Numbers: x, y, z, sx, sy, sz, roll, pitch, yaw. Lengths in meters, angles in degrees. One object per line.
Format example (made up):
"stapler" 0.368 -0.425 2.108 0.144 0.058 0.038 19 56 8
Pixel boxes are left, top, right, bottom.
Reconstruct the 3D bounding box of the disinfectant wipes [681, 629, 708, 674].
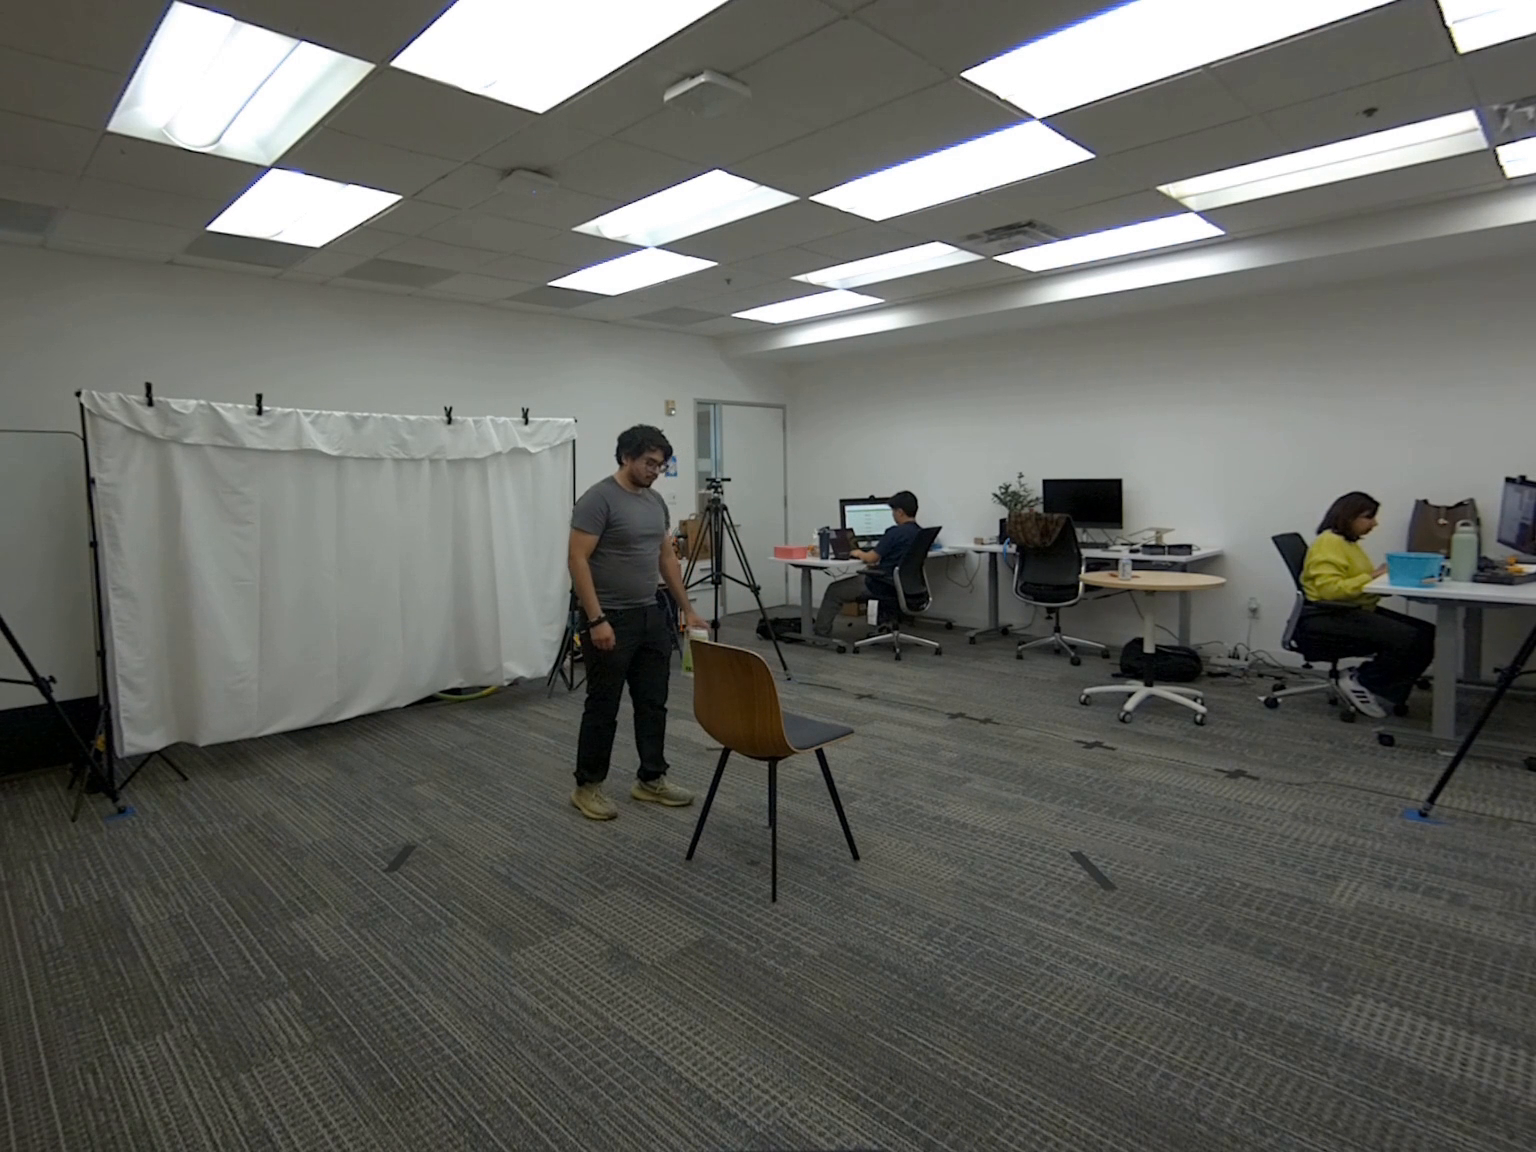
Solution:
"disinfectant wipes" -0.341 0.340 3.840 0.117 0.217 0.118 7 4 -2
